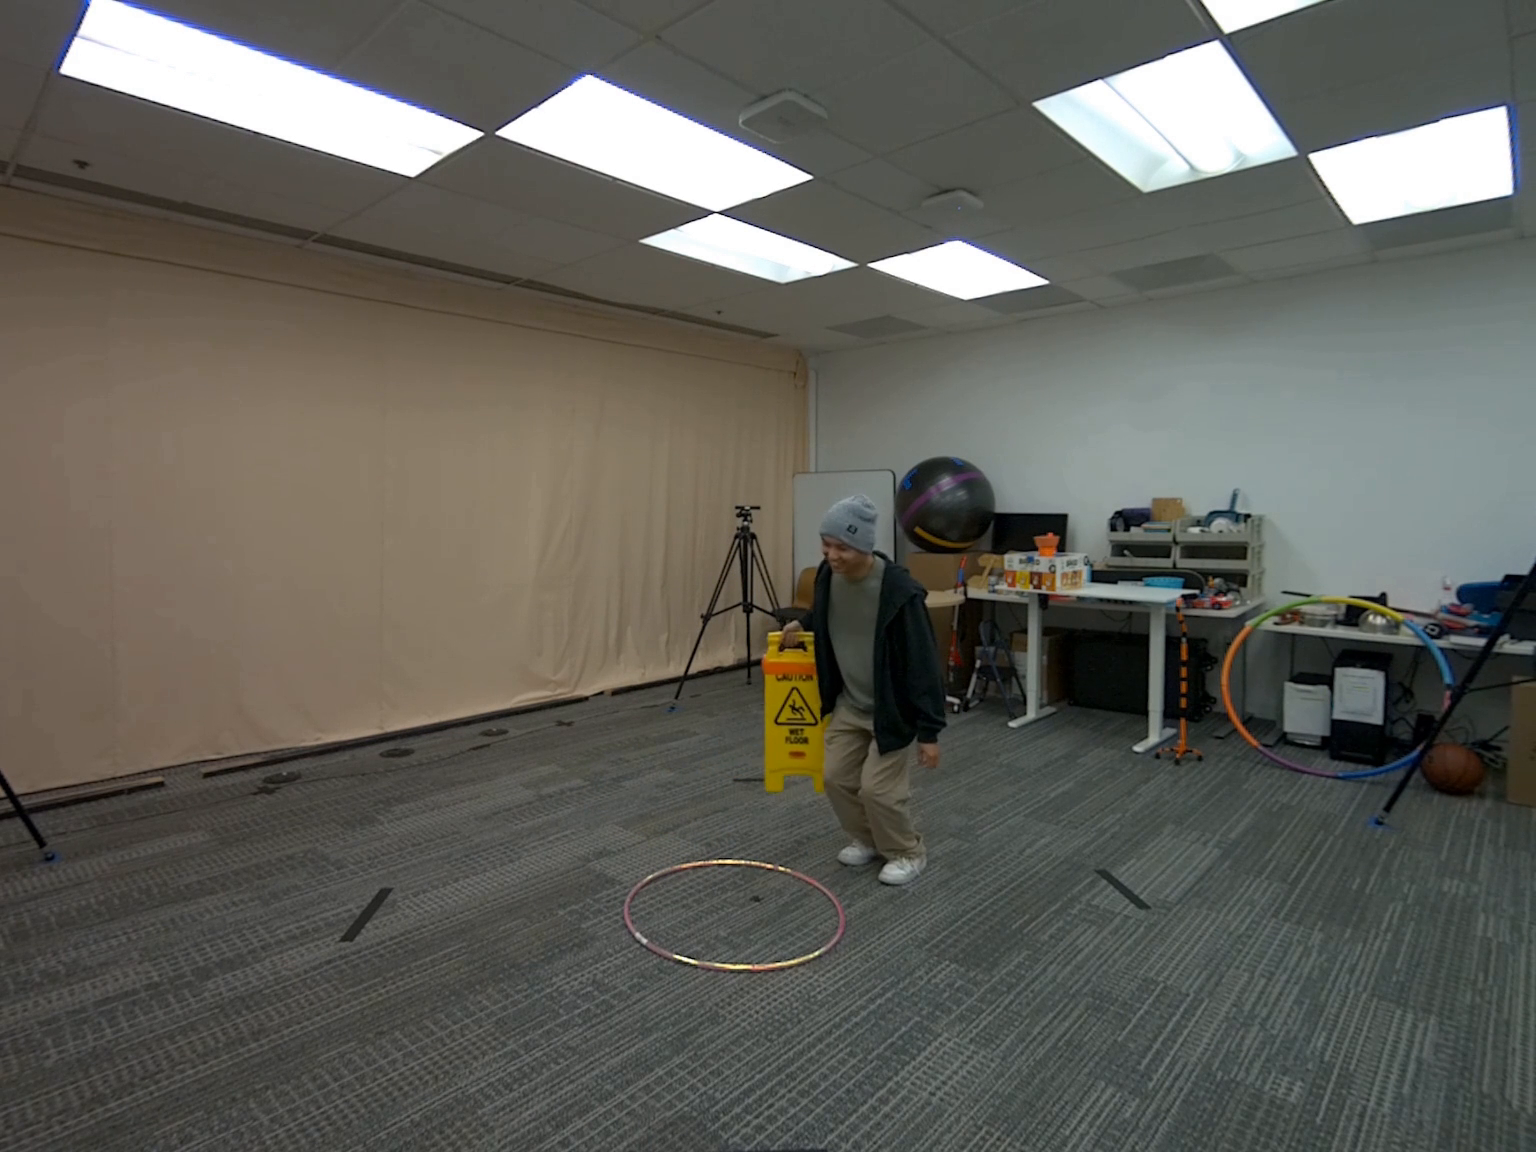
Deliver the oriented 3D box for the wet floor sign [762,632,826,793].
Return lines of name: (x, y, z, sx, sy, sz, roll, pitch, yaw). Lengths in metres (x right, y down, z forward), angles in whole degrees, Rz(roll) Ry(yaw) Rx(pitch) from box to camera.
wet floor sign: (0.105, 0.526, 3.459, 0.286, 0.639, 0.289, -2, 15, 12)
